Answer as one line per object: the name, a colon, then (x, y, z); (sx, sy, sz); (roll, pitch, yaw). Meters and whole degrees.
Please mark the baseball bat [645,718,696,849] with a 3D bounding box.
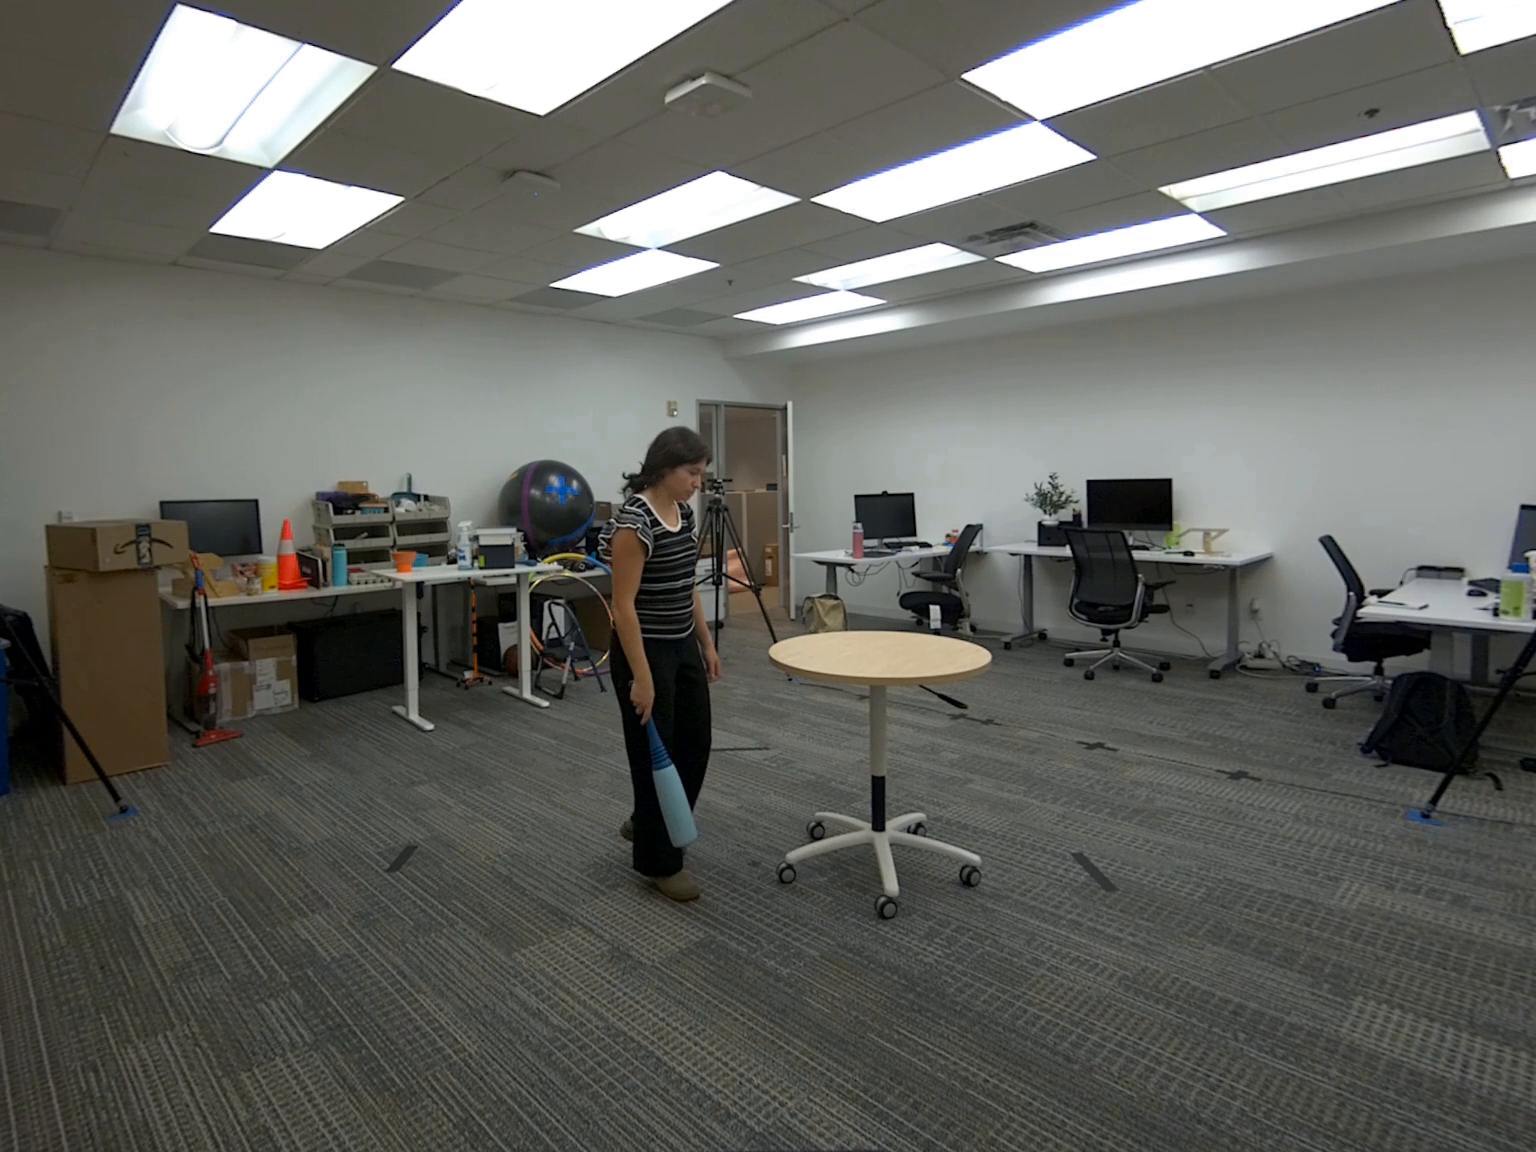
baseball bat: (-0.342, 0.598, 2.728); (0.089, 0.545, 0.089); (-17, -4, -2)
